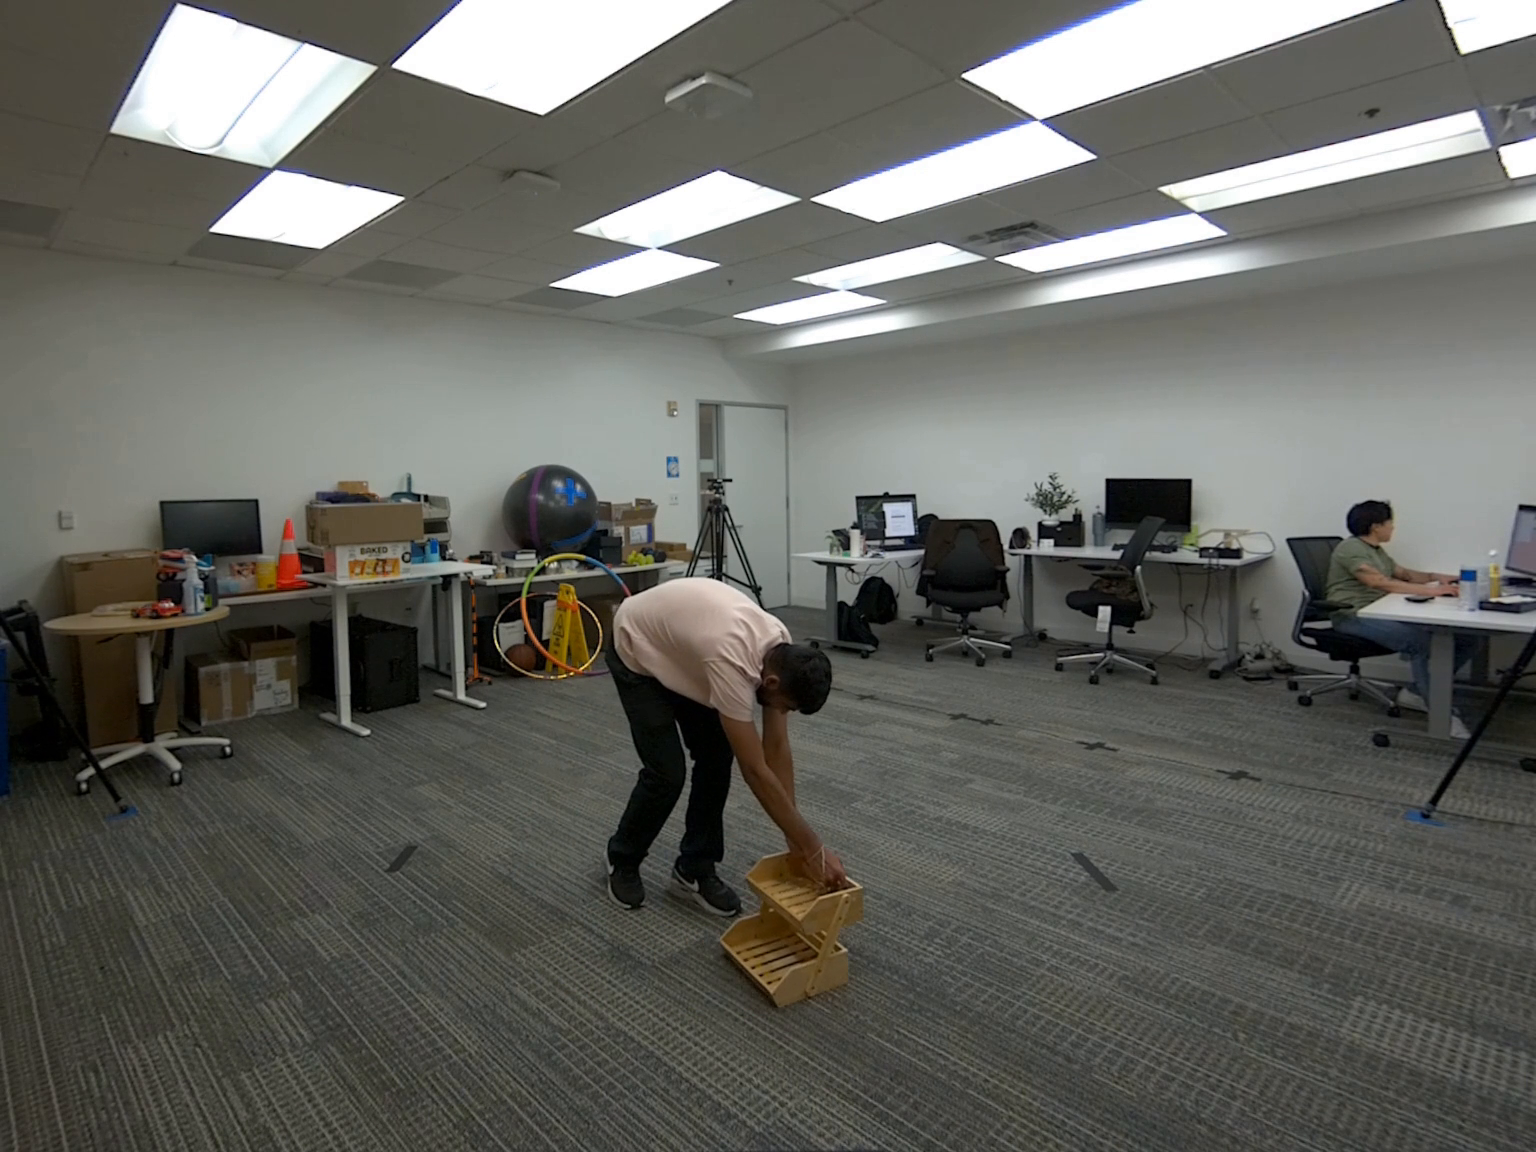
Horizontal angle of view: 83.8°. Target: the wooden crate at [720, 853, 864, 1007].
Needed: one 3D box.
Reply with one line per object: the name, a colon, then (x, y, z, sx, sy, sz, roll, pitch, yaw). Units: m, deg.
wooden crate: (0.064, 0.989, 2.437, 0.295, 0.272, 0.333, -3, 6, -29)
